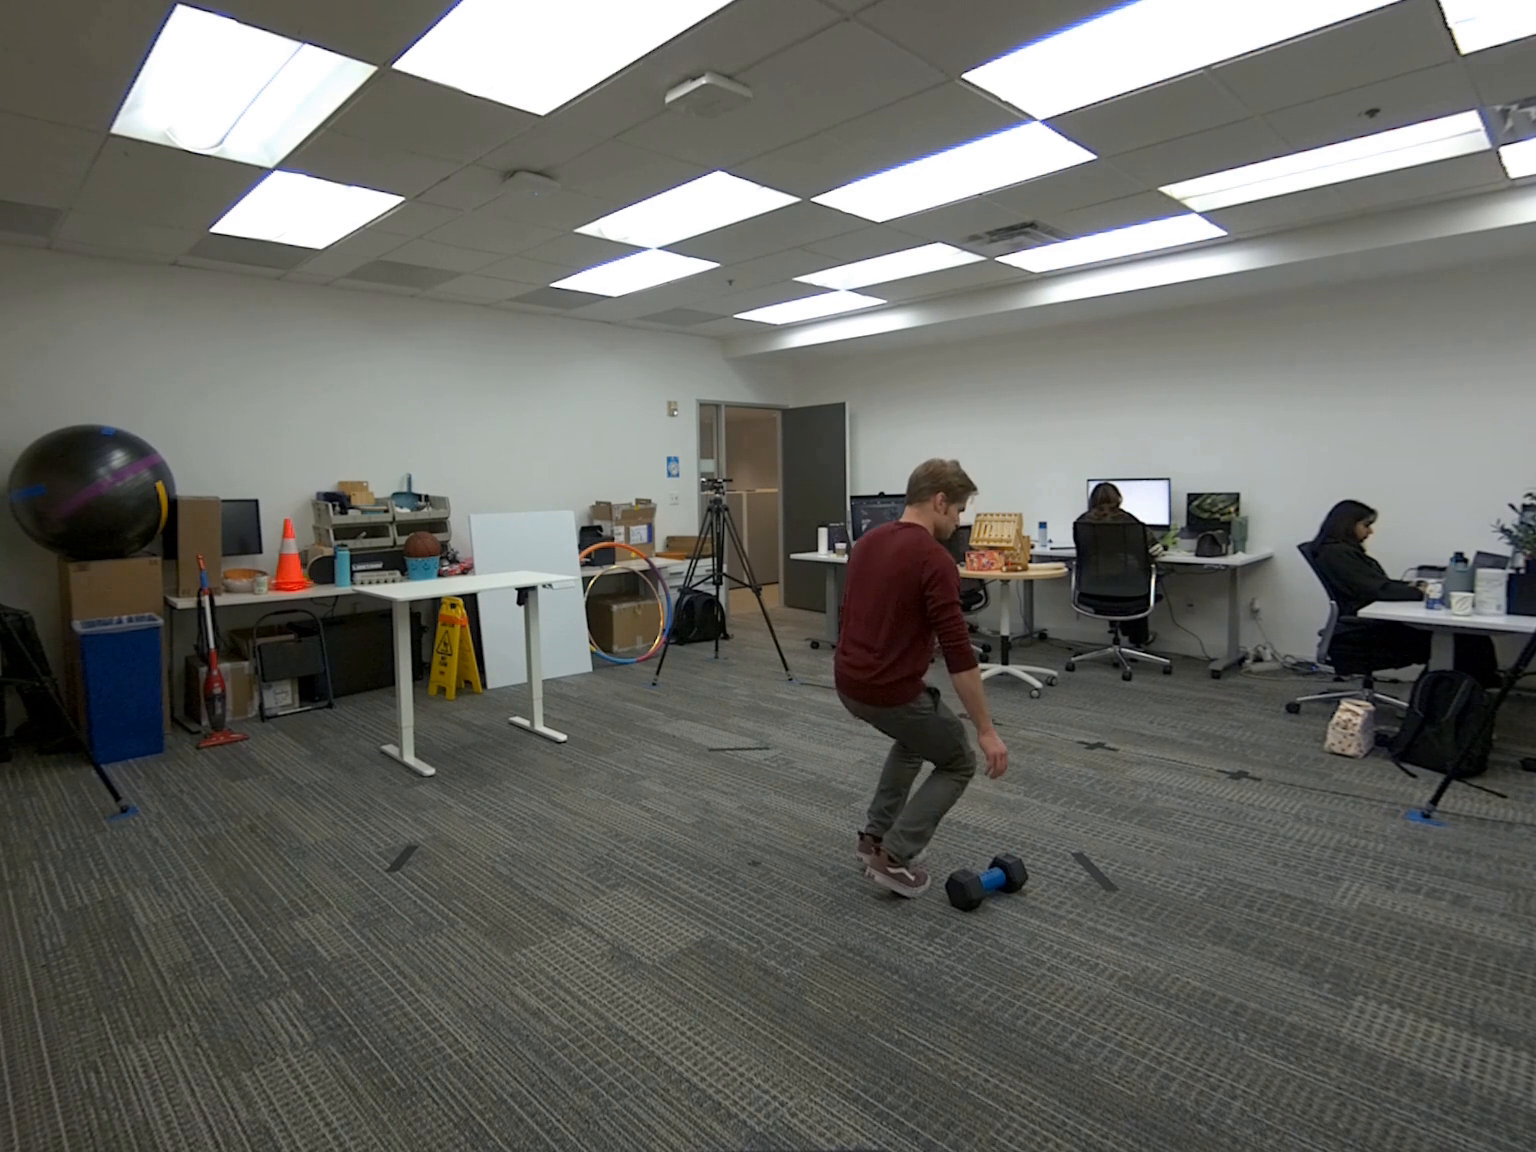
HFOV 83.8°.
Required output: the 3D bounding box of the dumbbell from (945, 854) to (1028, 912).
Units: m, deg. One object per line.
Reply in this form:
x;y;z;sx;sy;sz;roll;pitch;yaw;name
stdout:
0.729;1.009;2.820;0.286;0.126;0.109;-5;-23;-33;dumbbell
